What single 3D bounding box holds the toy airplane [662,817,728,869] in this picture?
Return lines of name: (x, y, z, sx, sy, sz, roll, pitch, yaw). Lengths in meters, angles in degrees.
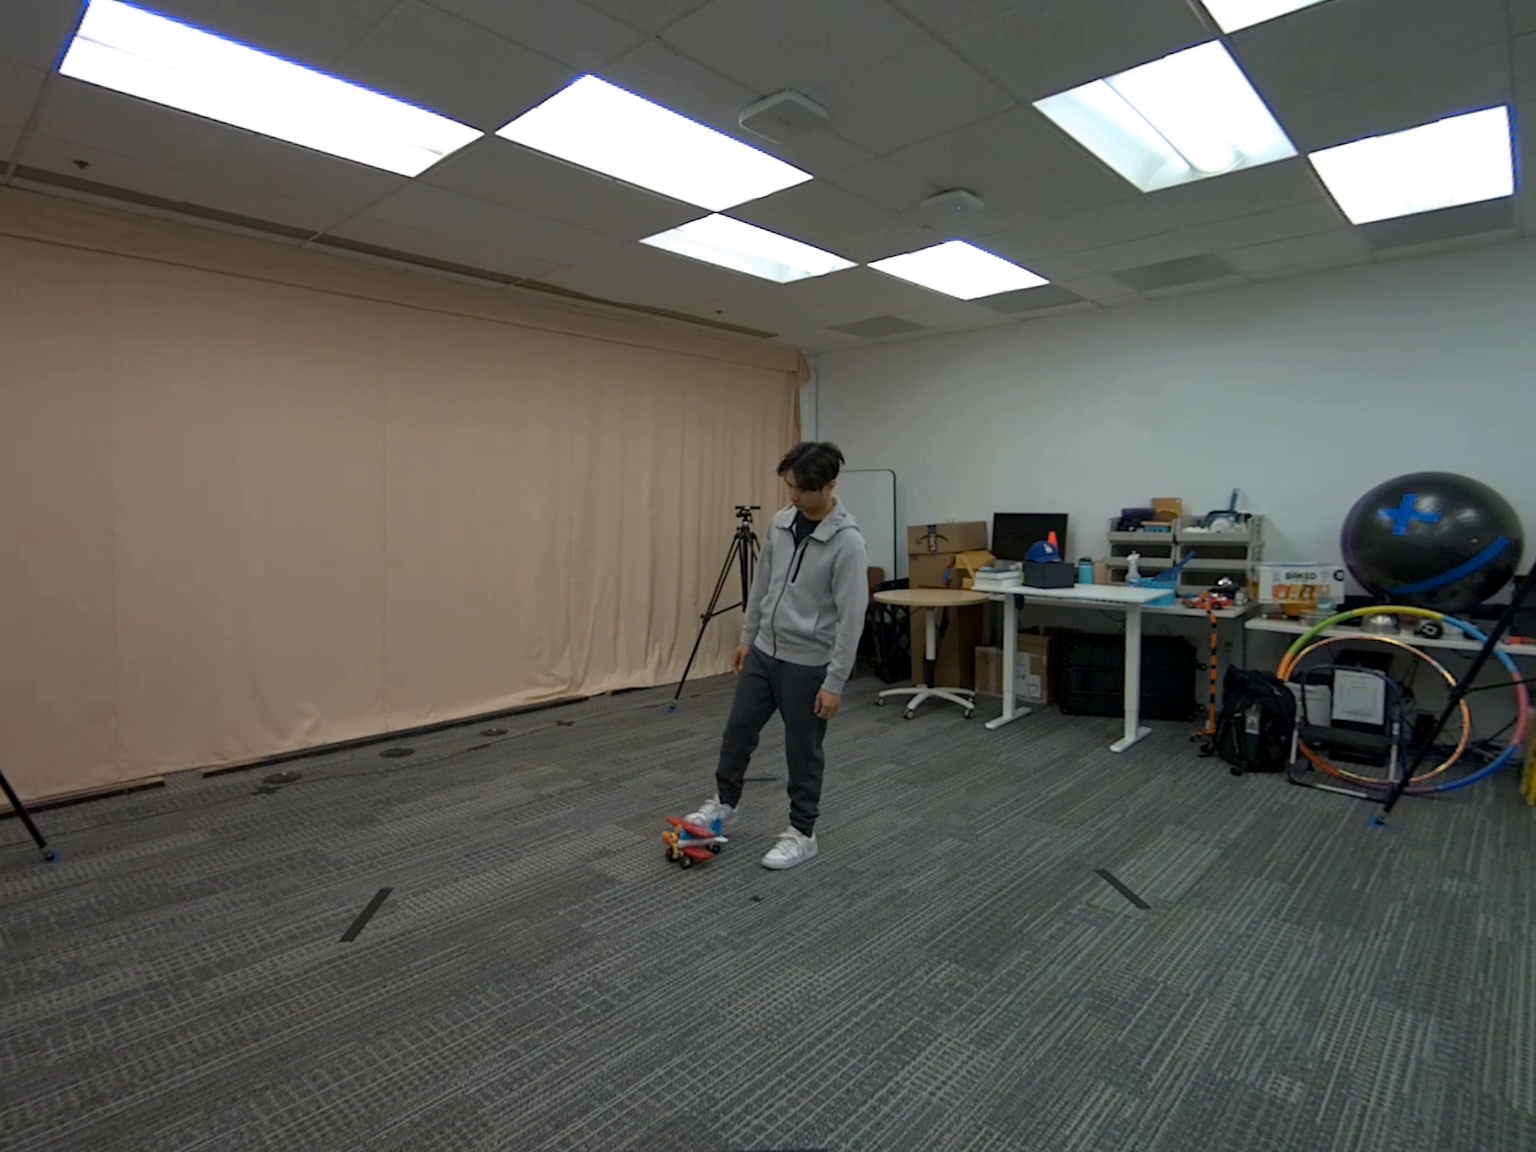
toy airplane: (-0.298, 1.040, 3.335, 0.256, 0.156, 0.255, 0, 6, 19)
